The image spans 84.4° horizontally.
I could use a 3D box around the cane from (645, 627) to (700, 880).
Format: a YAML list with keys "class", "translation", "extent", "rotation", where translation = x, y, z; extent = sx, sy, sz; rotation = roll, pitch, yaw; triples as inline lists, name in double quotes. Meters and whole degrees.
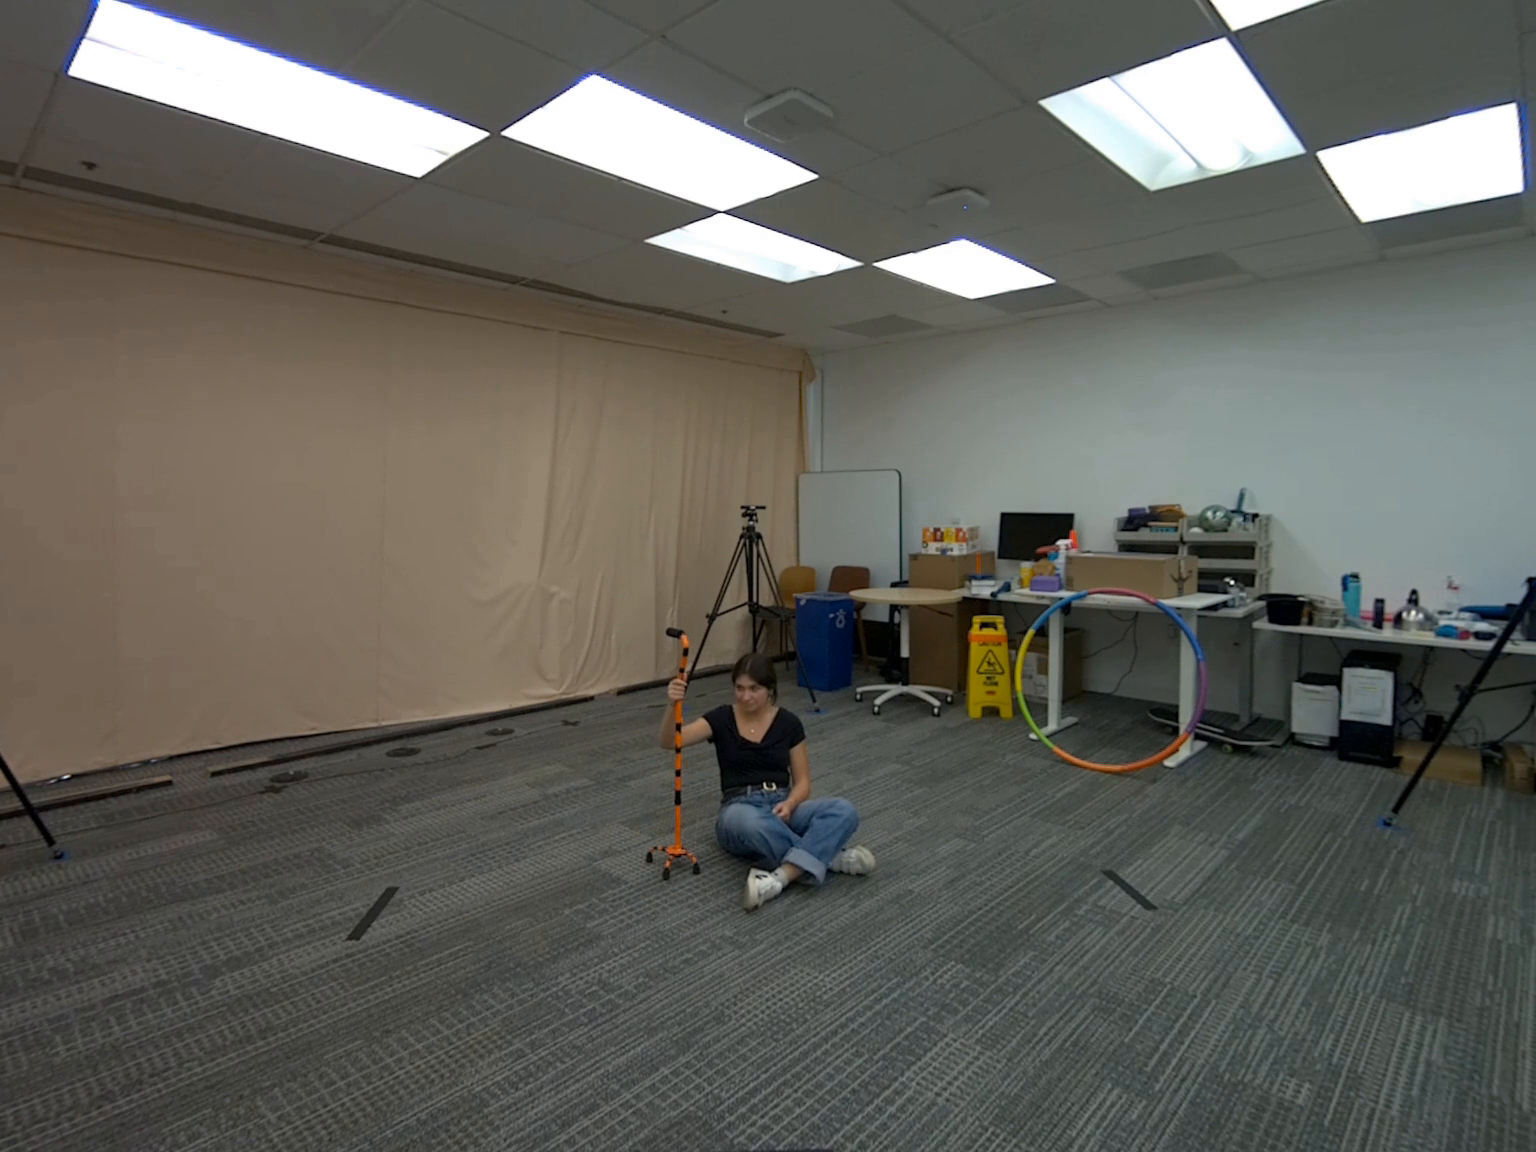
- class: "cane"
  translation: [-0.358, 0.665, 3.232]
  extent: [0.147, 0.907, 0.212]
  rotation: [0, 2, -30]
